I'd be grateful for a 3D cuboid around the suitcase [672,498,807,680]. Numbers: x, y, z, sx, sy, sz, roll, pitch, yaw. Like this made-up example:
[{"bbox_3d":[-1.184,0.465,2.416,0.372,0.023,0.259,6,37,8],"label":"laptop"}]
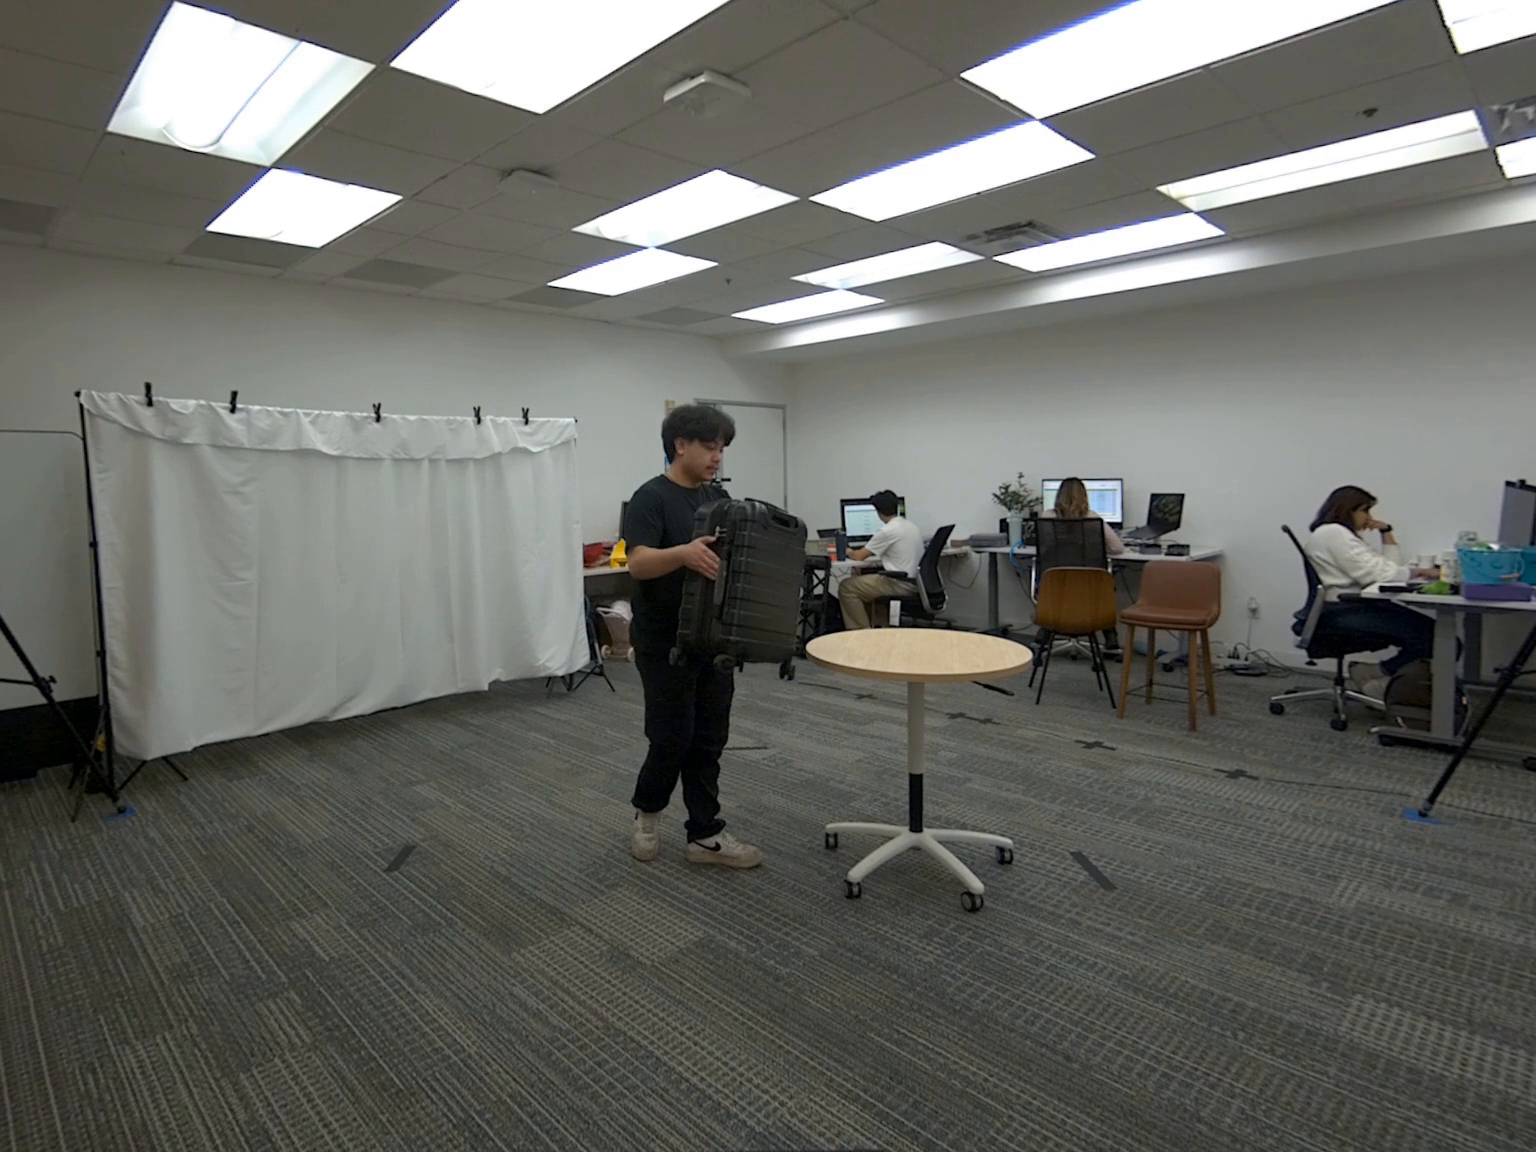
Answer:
[{"bbox_3d":[-0.079,0.036,2.771,0.255,0.552,0.362,1,-9,38],"label":"suitcase"}]
